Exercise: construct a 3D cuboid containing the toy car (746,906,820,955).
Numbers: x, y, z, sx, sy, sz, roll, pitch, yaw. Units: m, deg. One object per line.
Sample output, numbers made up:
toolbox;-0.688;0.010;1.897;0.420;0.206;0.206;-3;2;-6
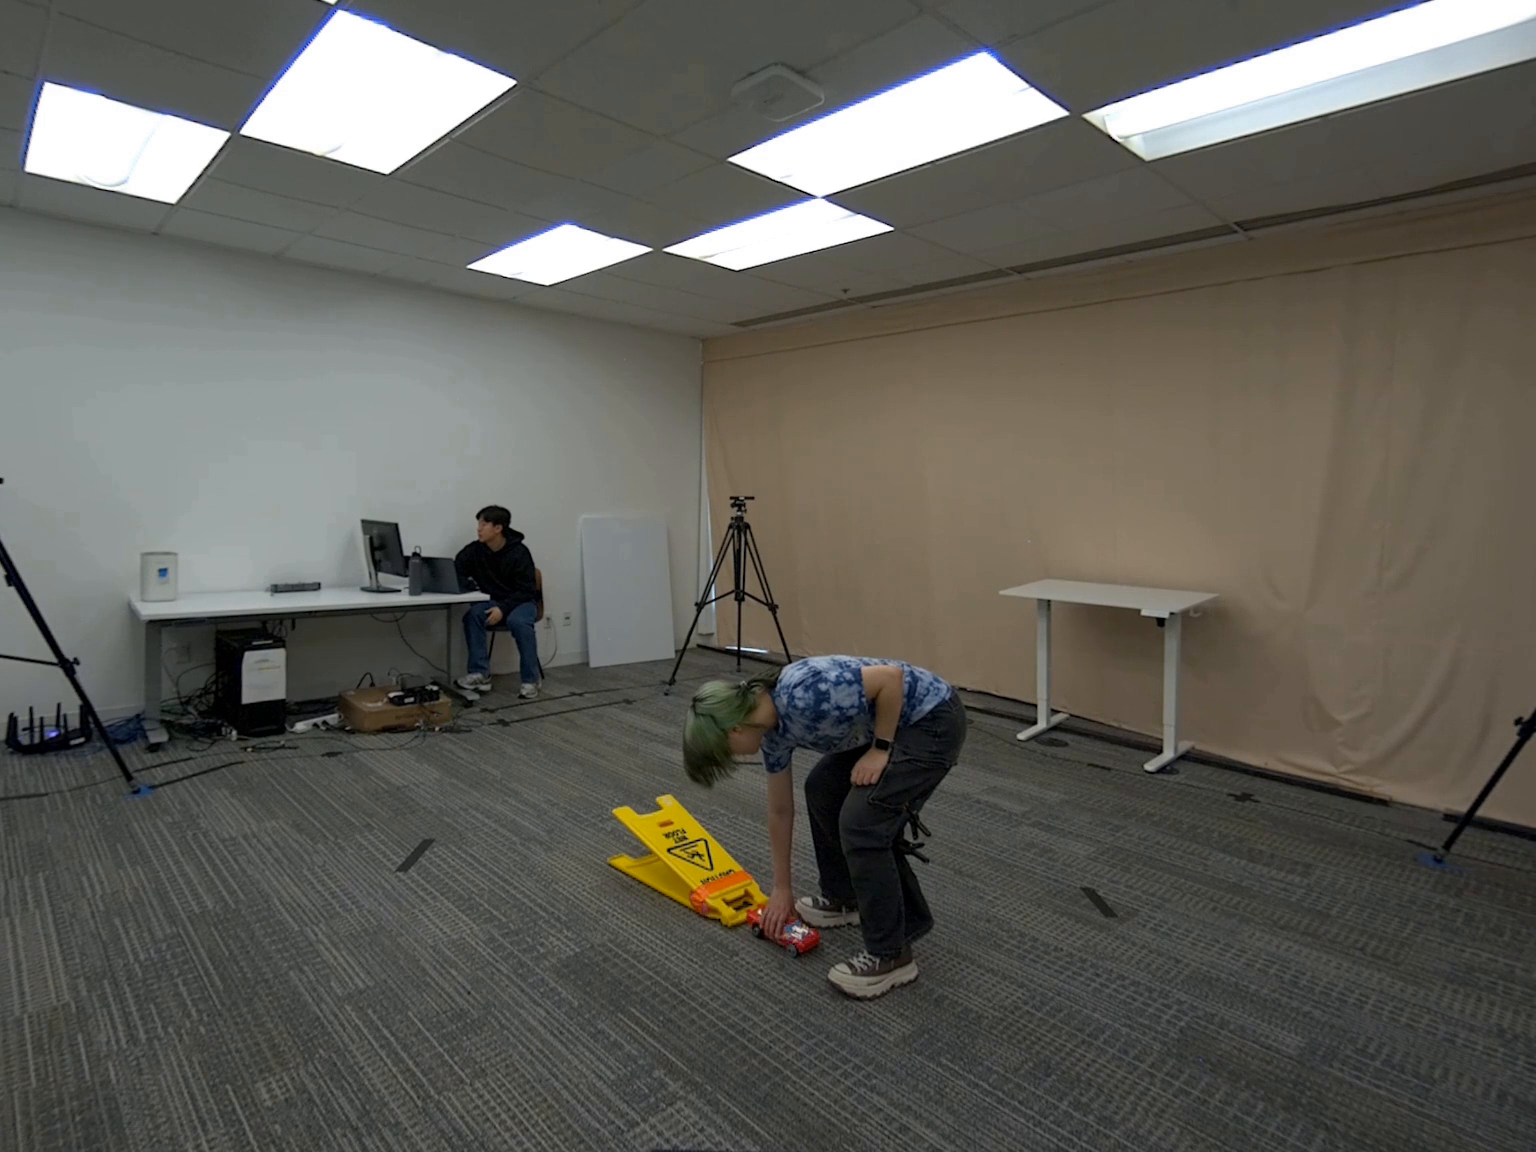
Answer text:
toy car;0.037;1.121;2.657;0.262;0.082;0.127;19;16;42
